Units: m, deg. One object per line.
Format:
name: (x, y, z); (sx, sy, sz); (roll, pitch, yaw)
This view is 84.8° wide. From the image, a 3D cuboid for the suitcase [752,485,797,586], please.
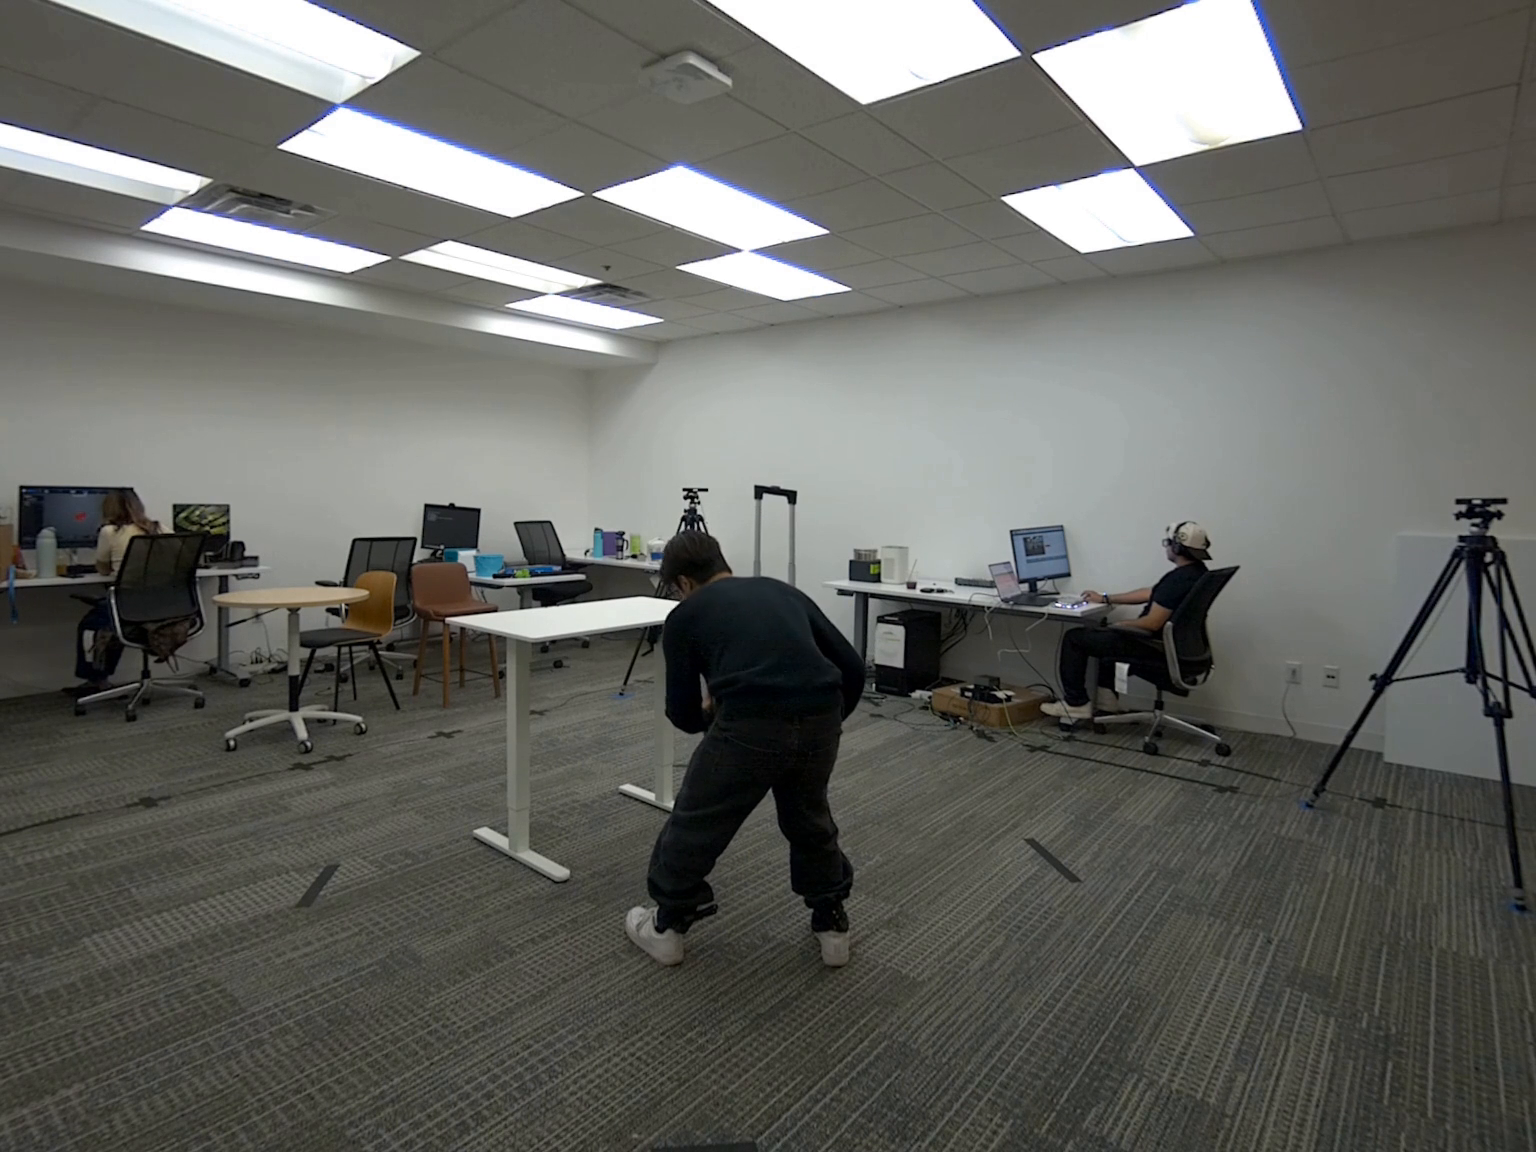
suitcase: (-0.027, 0.201, 2.926); (0.376, 0.989, 0.260); (4, -12, -20)
